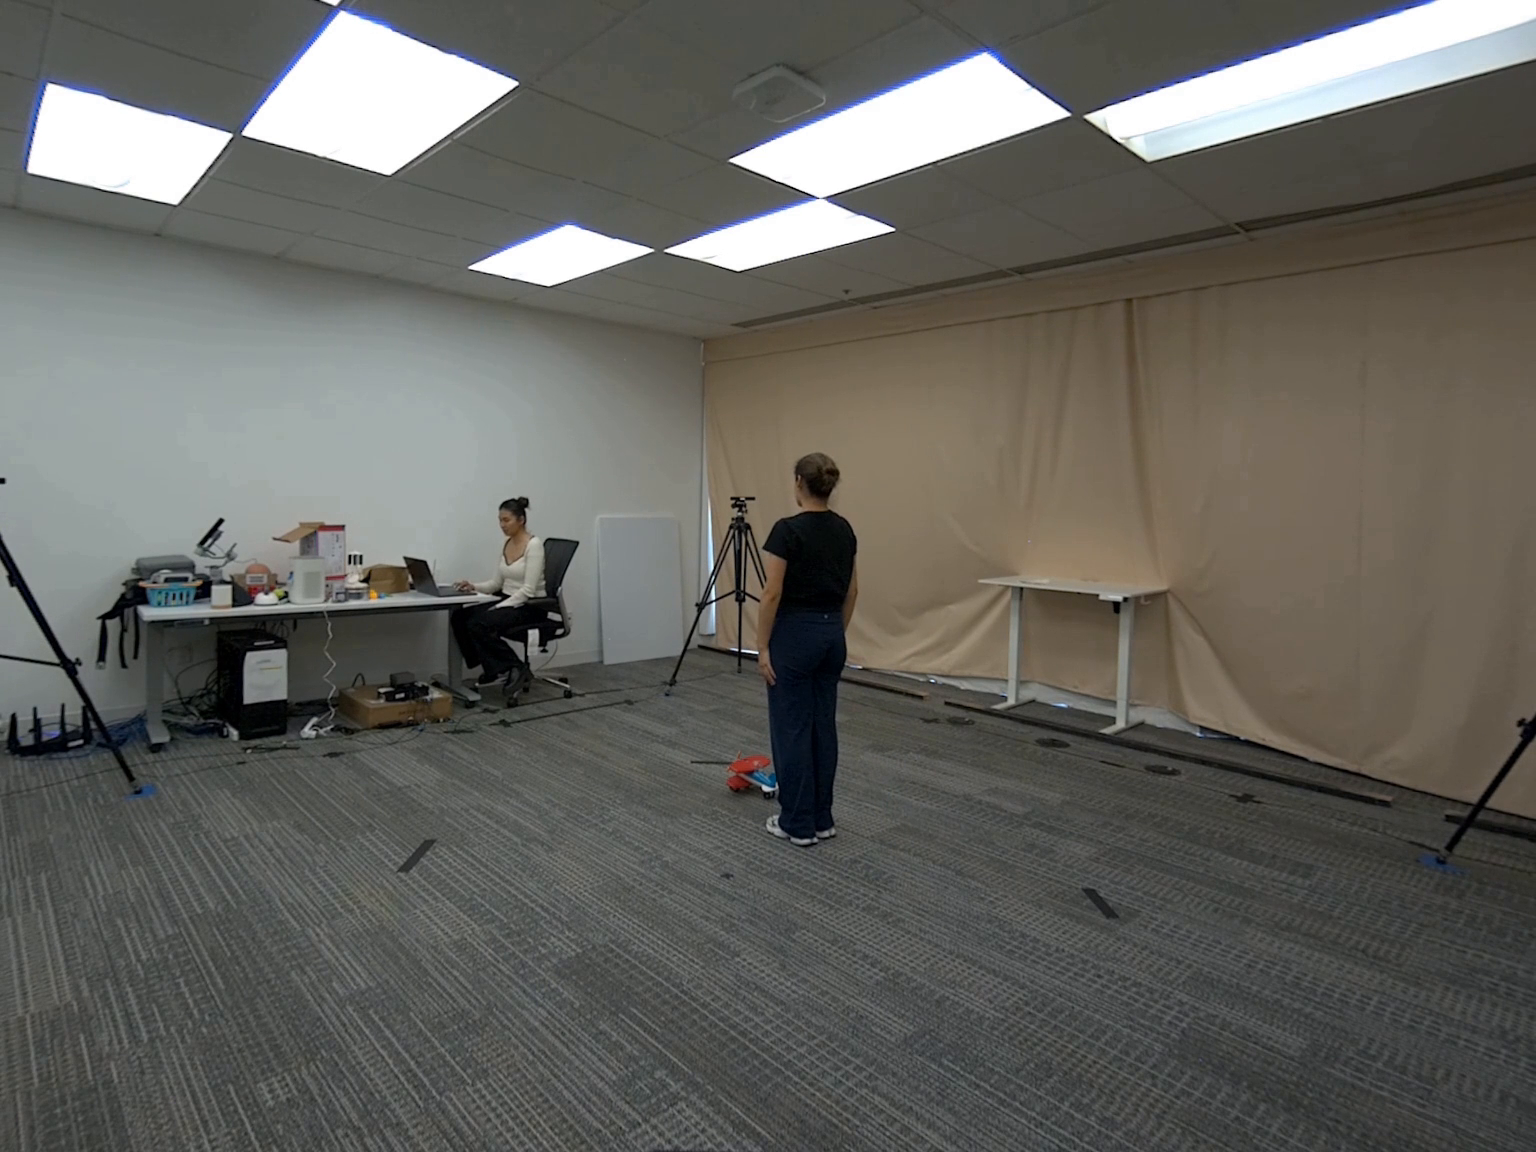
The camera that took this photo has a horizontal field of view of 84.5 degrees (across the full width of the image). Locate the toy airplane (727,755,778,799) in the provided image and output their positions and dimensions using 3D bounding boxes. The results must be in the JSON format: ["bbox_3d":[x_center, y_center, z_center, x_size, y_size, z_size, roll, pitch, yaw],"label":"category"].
[{"bbox_3d":[-0.067,0.959,4.001,0.262,0.156,0.249,1,4,12],"label":"toy airplane"}]
